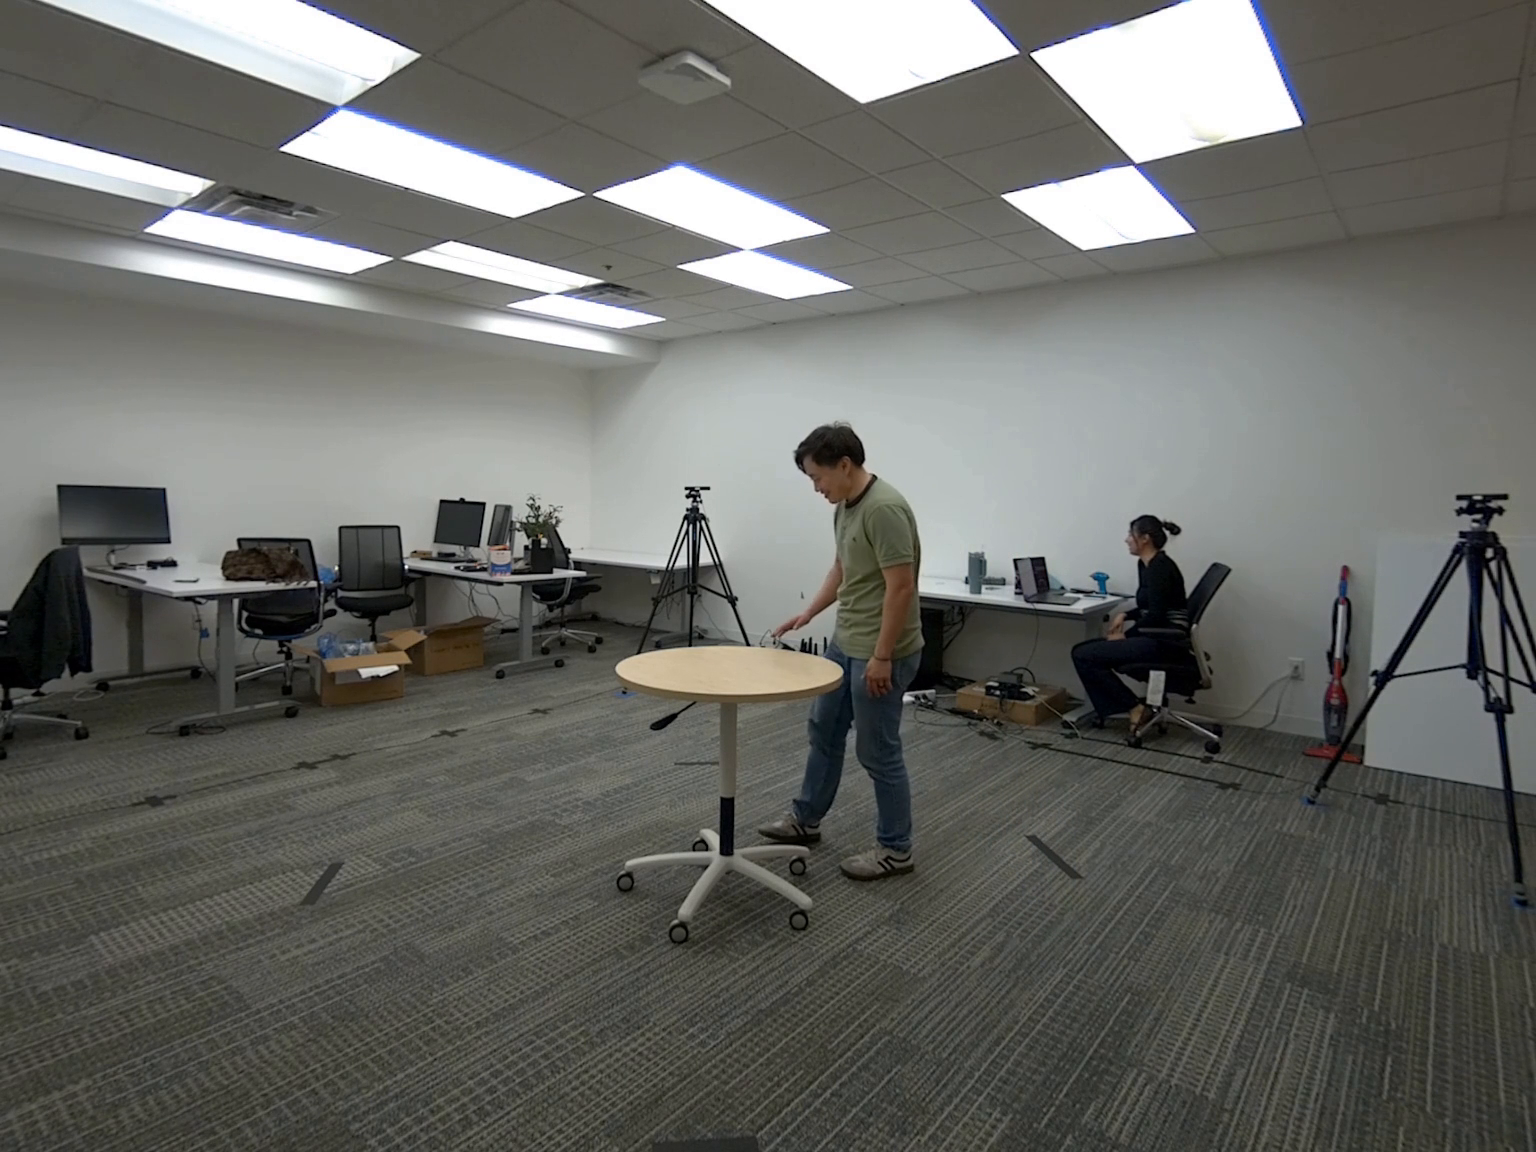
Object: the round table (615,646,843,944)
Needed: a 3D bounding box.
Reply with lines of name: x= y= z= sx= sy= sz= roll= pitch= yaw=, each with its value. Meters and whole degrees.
round table: x=-0.146 y=0.699 z=2.892 sx=0.763 sy=0.791 sz=0.768 roll=1 pitch=4 yaw=-2
